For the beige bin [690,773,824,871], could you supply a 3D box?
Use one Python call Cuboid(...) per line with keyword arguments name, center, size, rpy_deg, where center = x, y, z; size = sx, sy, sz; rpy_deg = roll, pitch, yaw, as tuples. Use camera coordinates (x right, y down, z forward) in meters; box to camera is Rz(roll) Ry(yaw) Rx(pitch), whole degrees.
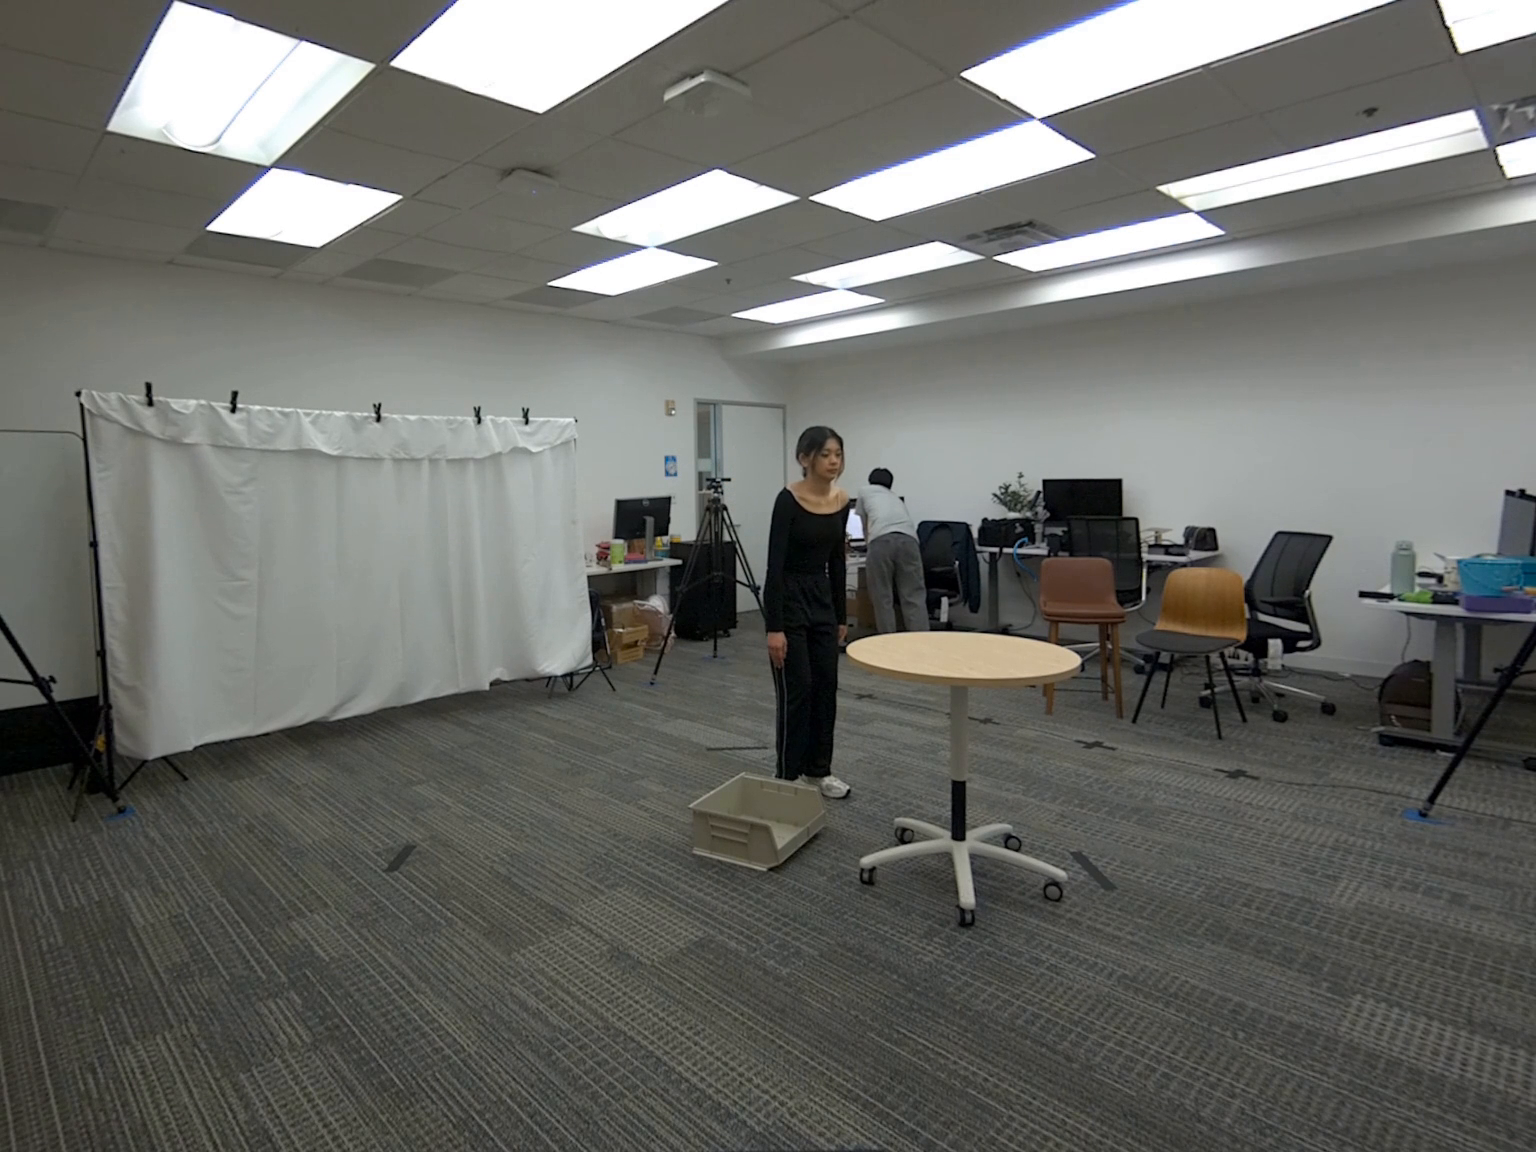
Cuboid(name="beige bin", center=(-0.032, 0.935, 3.273), size=(0.387, 0.188, 0.413), rpy_deg=(1, 7, 29))
